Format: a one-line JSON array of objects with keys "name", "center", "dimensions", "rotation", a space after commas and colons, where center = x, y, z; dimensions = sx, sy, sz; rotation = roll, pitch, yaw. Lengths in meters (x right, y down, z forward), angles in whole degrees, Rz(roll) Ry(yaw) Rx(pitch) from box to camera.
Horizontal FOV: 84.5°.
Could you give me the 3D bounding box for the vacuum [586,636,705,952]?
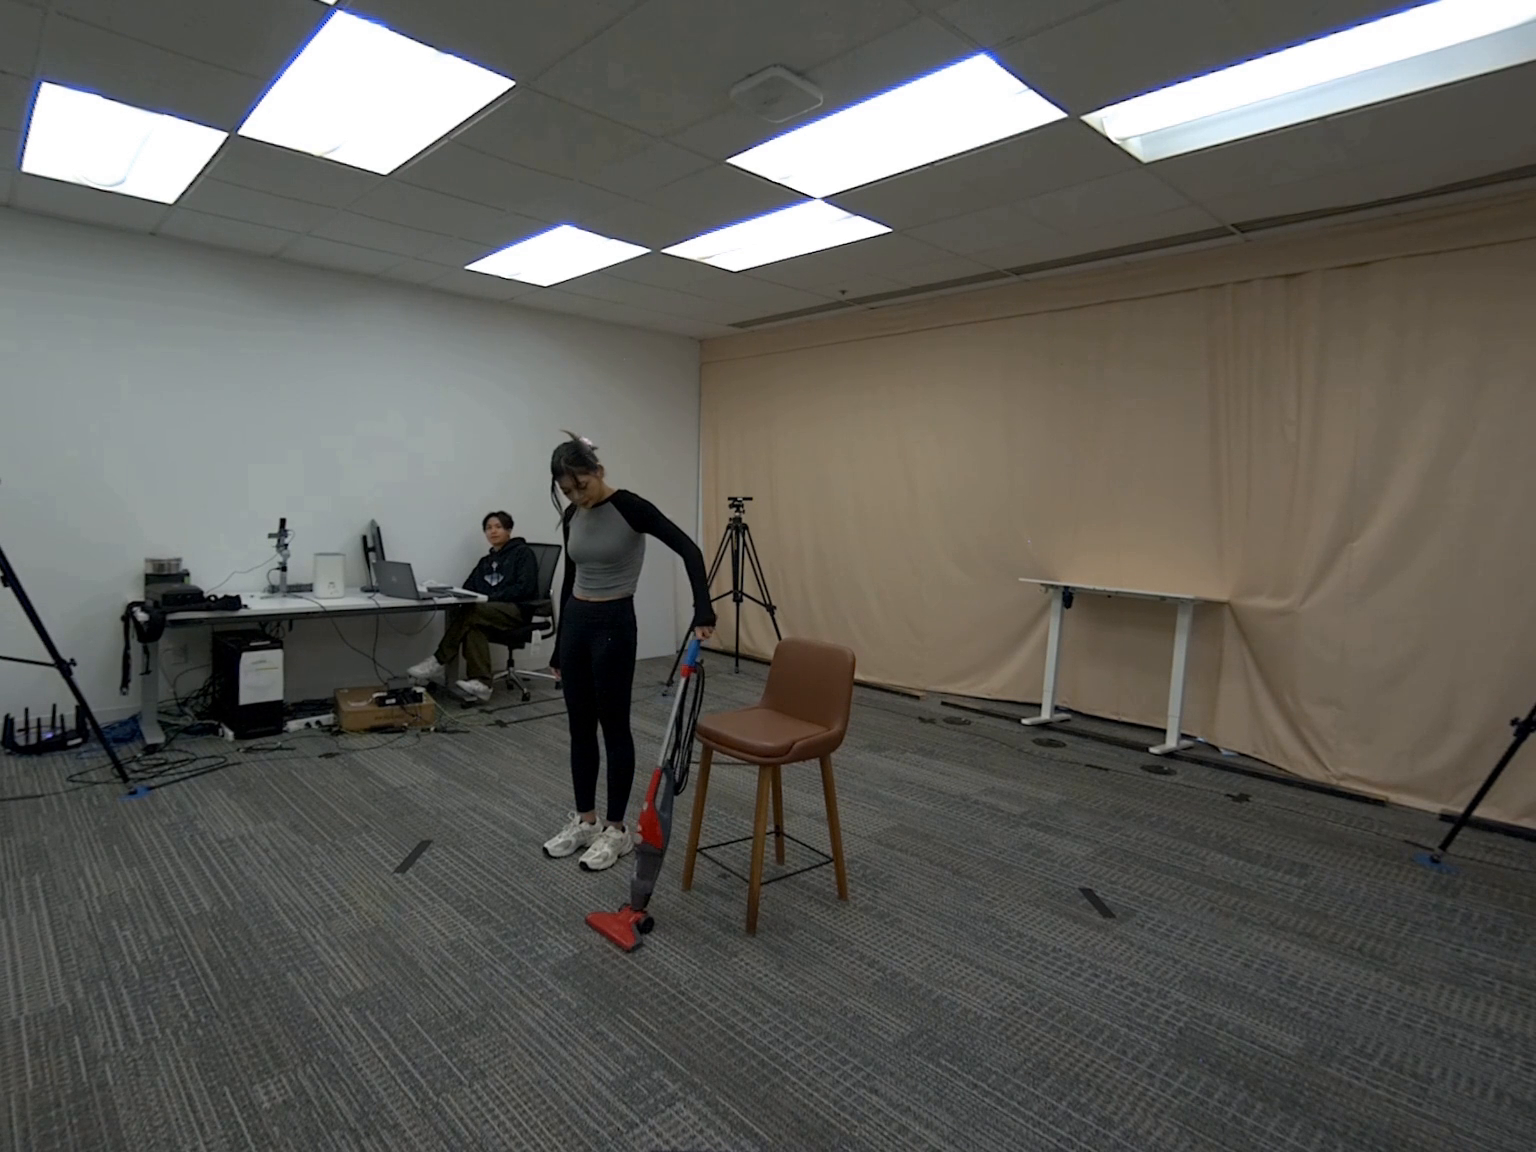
[{"name": "vacuum", "center": [-0.332, 0.650, 2.784], "dimensions": [0.259, 1.055, 0.139], "rotation": [4, -16, 44]}]
